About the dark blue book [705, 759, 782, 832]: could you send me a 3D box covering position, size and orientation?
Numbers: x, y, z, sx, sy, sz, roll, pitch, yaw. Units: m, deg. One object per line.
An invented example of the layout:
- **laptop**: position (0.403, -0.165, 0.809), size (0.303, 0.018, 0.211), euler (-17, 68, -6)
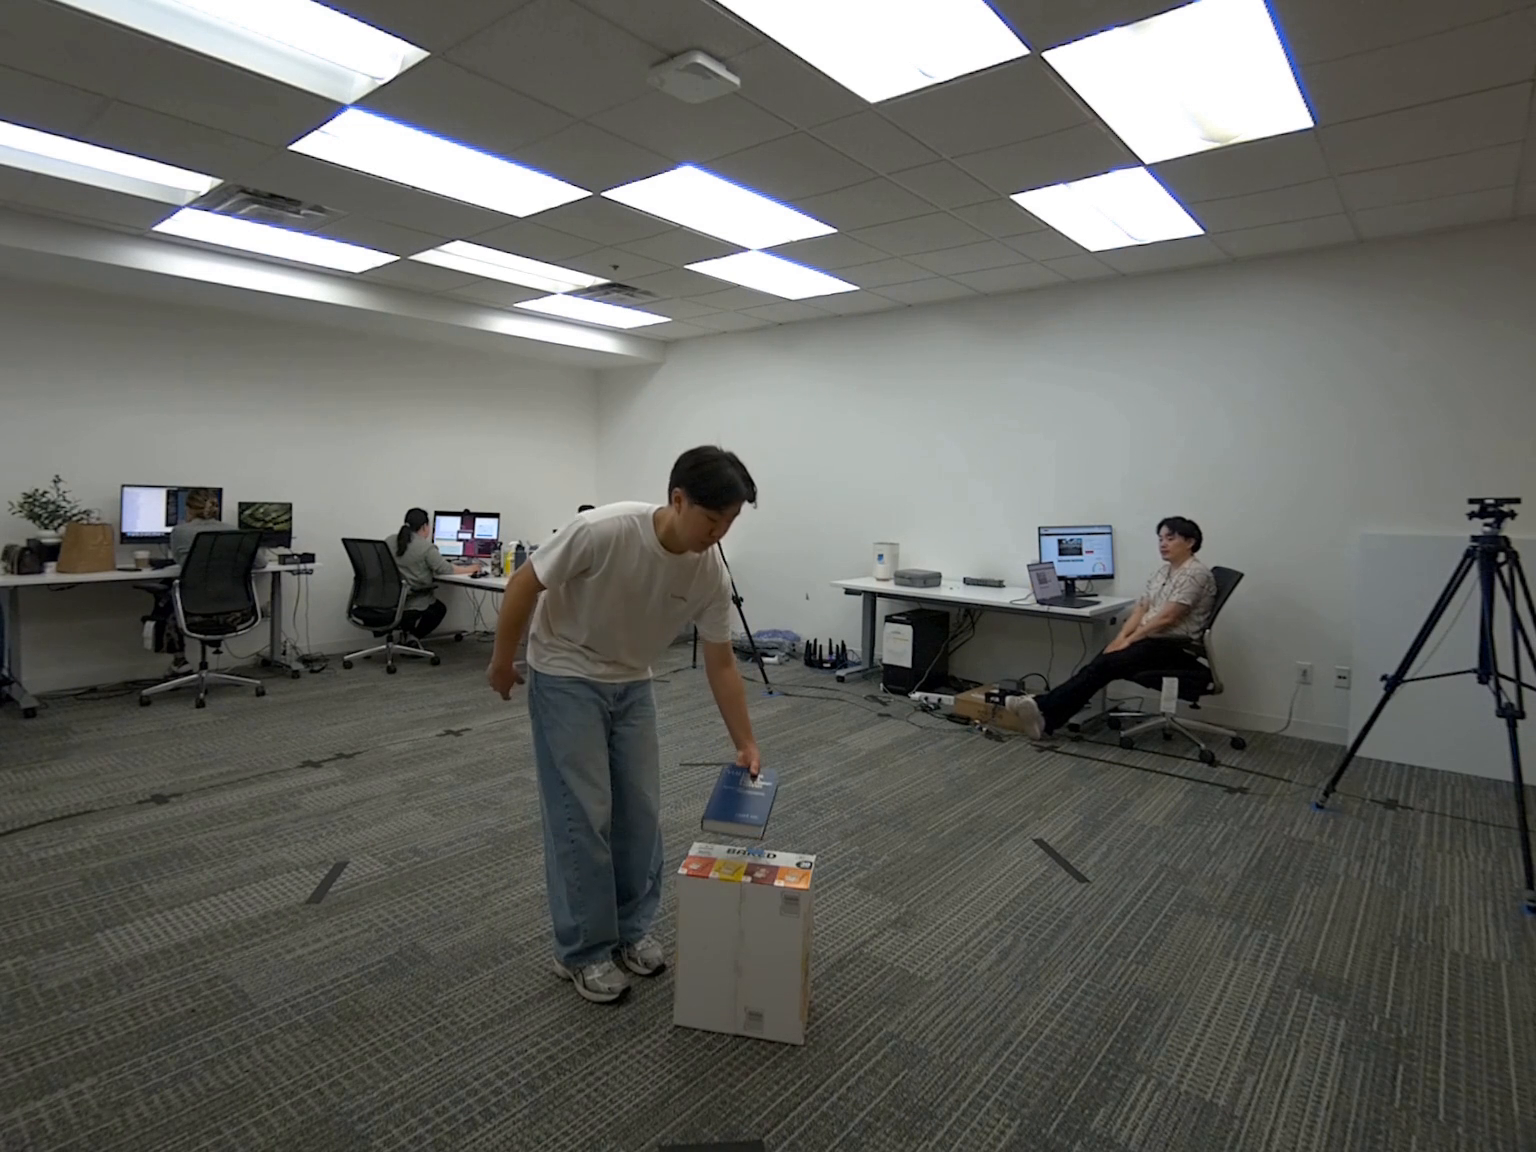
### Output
- **dark blue book**: position (-0.064, 0.587, 2.275), size (0.165, 0.044, 0.246), euler (1, 20, 10)
